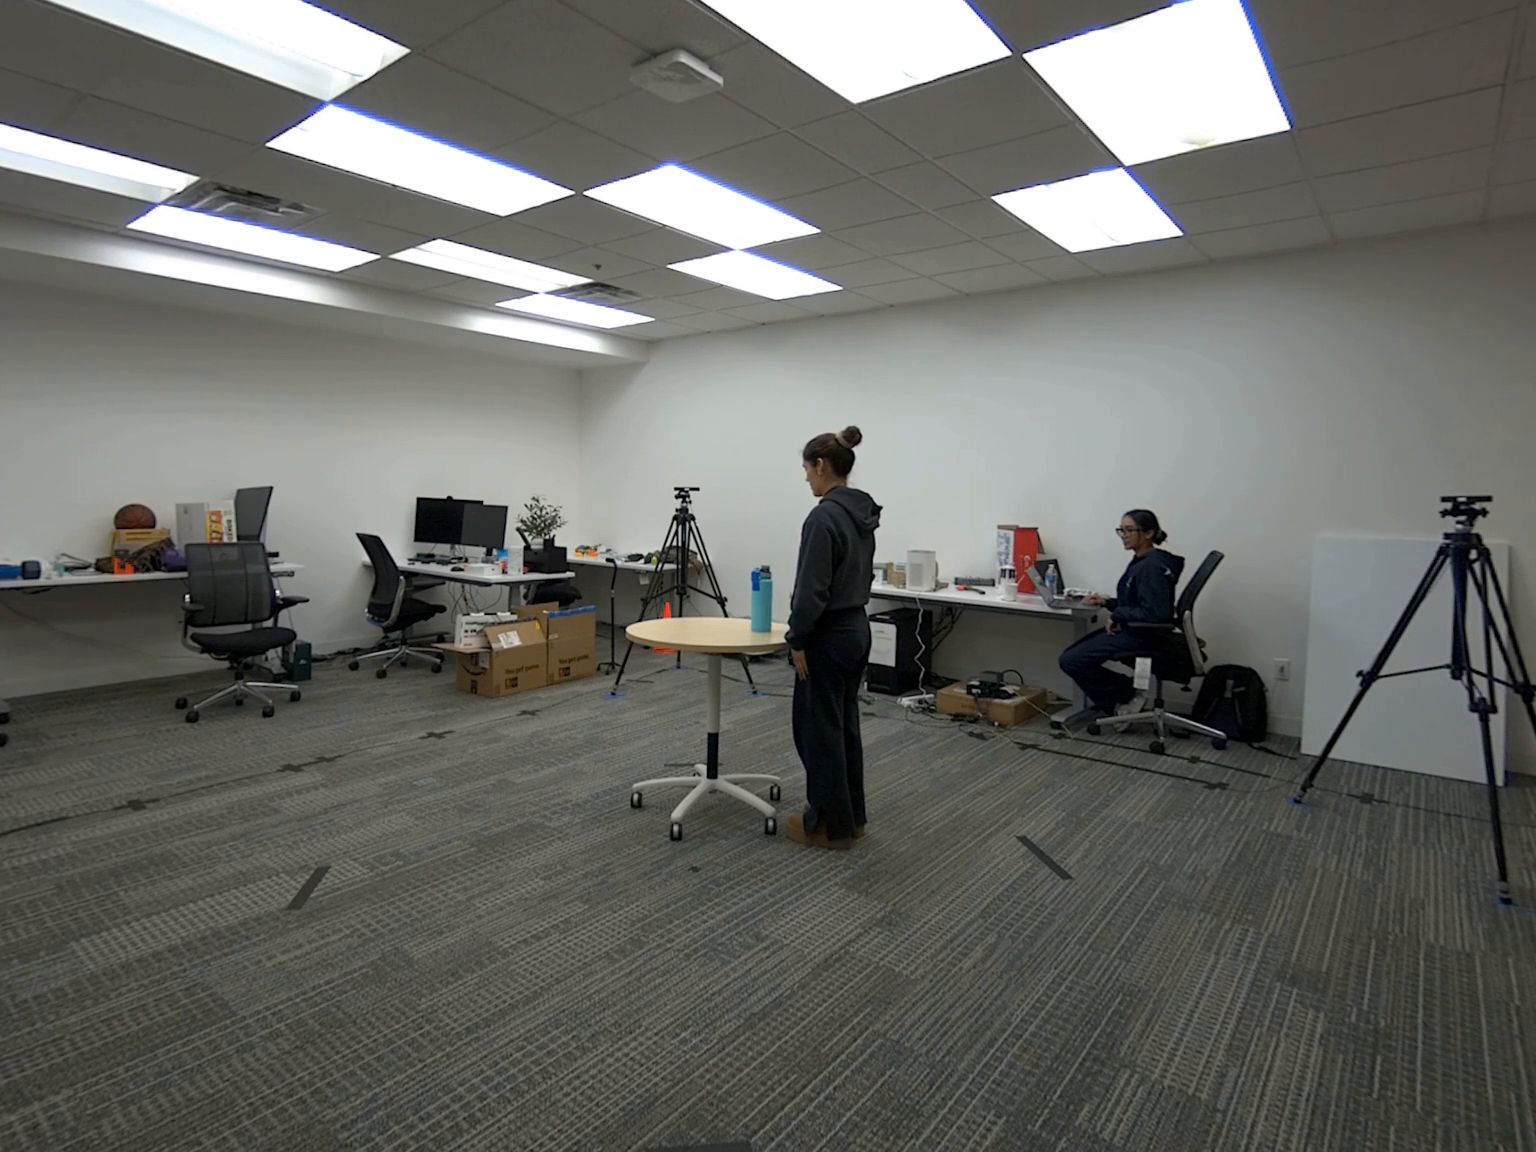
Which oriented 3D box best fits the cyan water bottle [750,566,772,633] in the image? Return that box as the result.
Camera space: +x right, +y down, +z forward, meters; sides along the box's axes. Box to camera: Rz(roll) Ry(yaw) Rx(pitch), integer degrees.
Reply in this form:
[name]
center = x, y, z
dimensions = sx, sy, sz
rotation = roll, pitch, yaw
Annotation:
[cyan water bottle]
center = -0.025, 0.094, 3.673
dimensions = 0.092, 0.282, 0.093
rotation = 2, 4, -2
